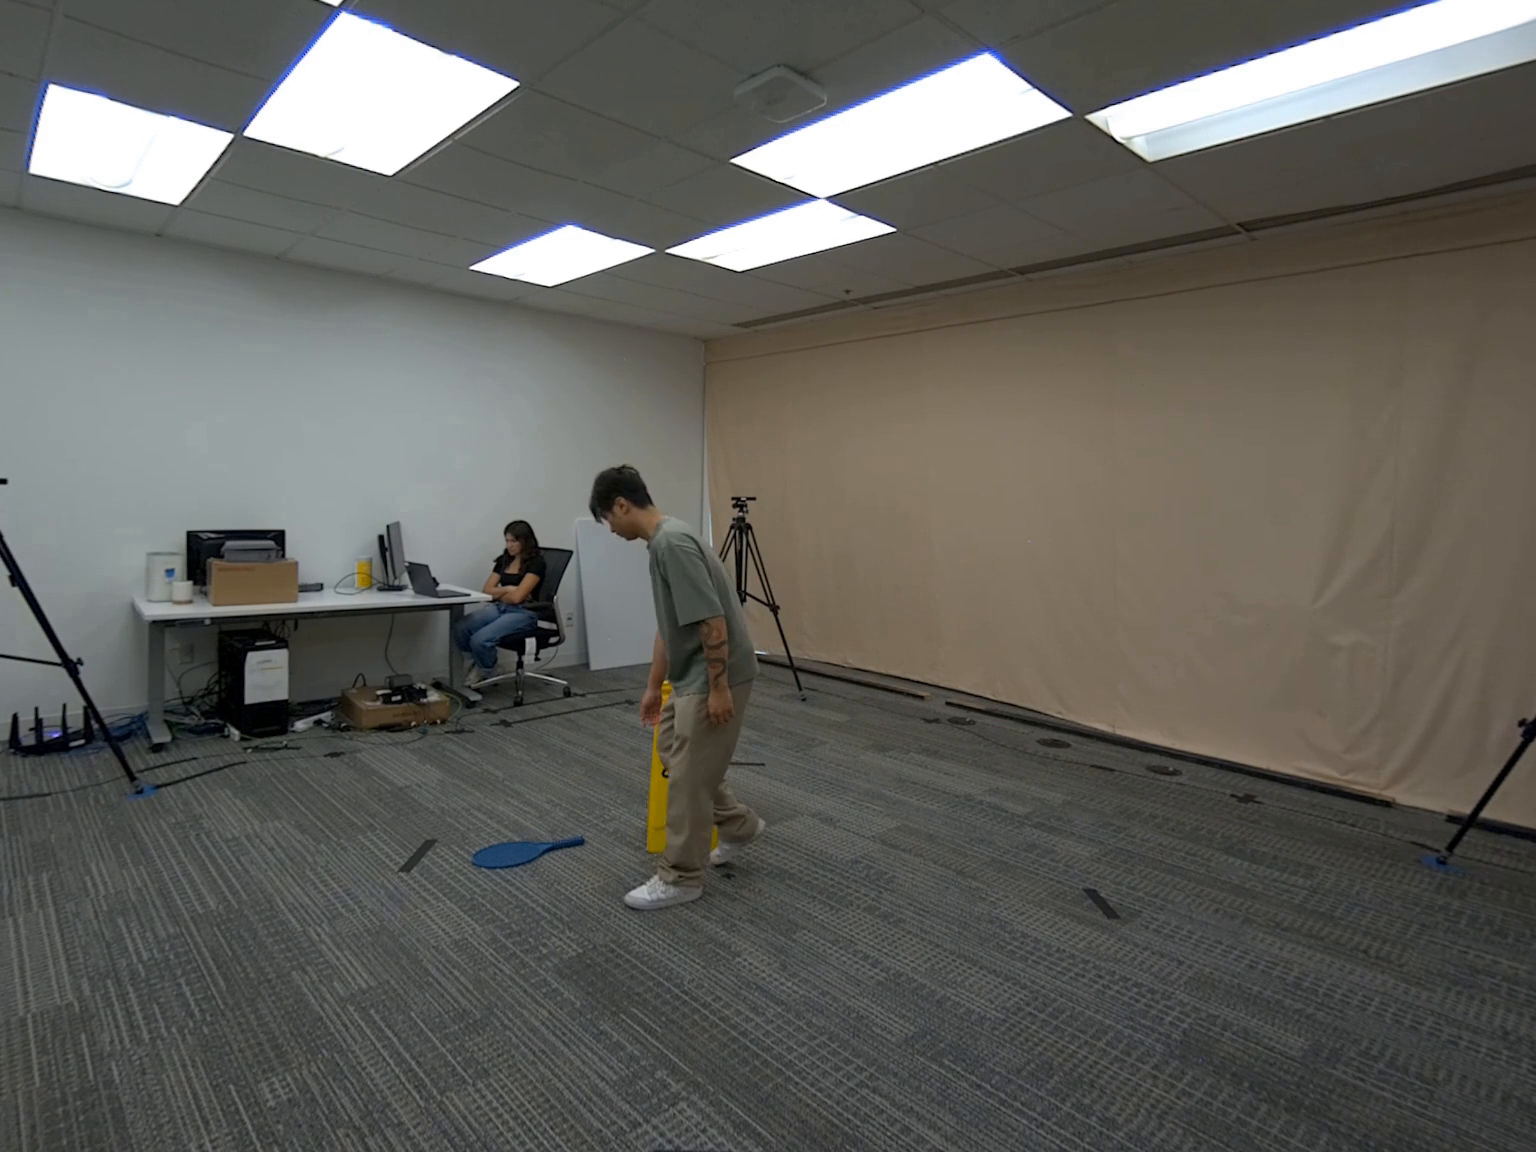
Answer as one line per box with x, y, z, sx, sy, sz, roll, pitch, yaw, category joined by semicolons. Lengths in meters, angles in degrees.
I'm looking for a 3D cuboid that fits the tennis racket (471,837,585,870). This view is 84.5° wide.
-0.931;1.061;3.268;0.424;0.031;0.218;-3;6;-30;tennis racket
